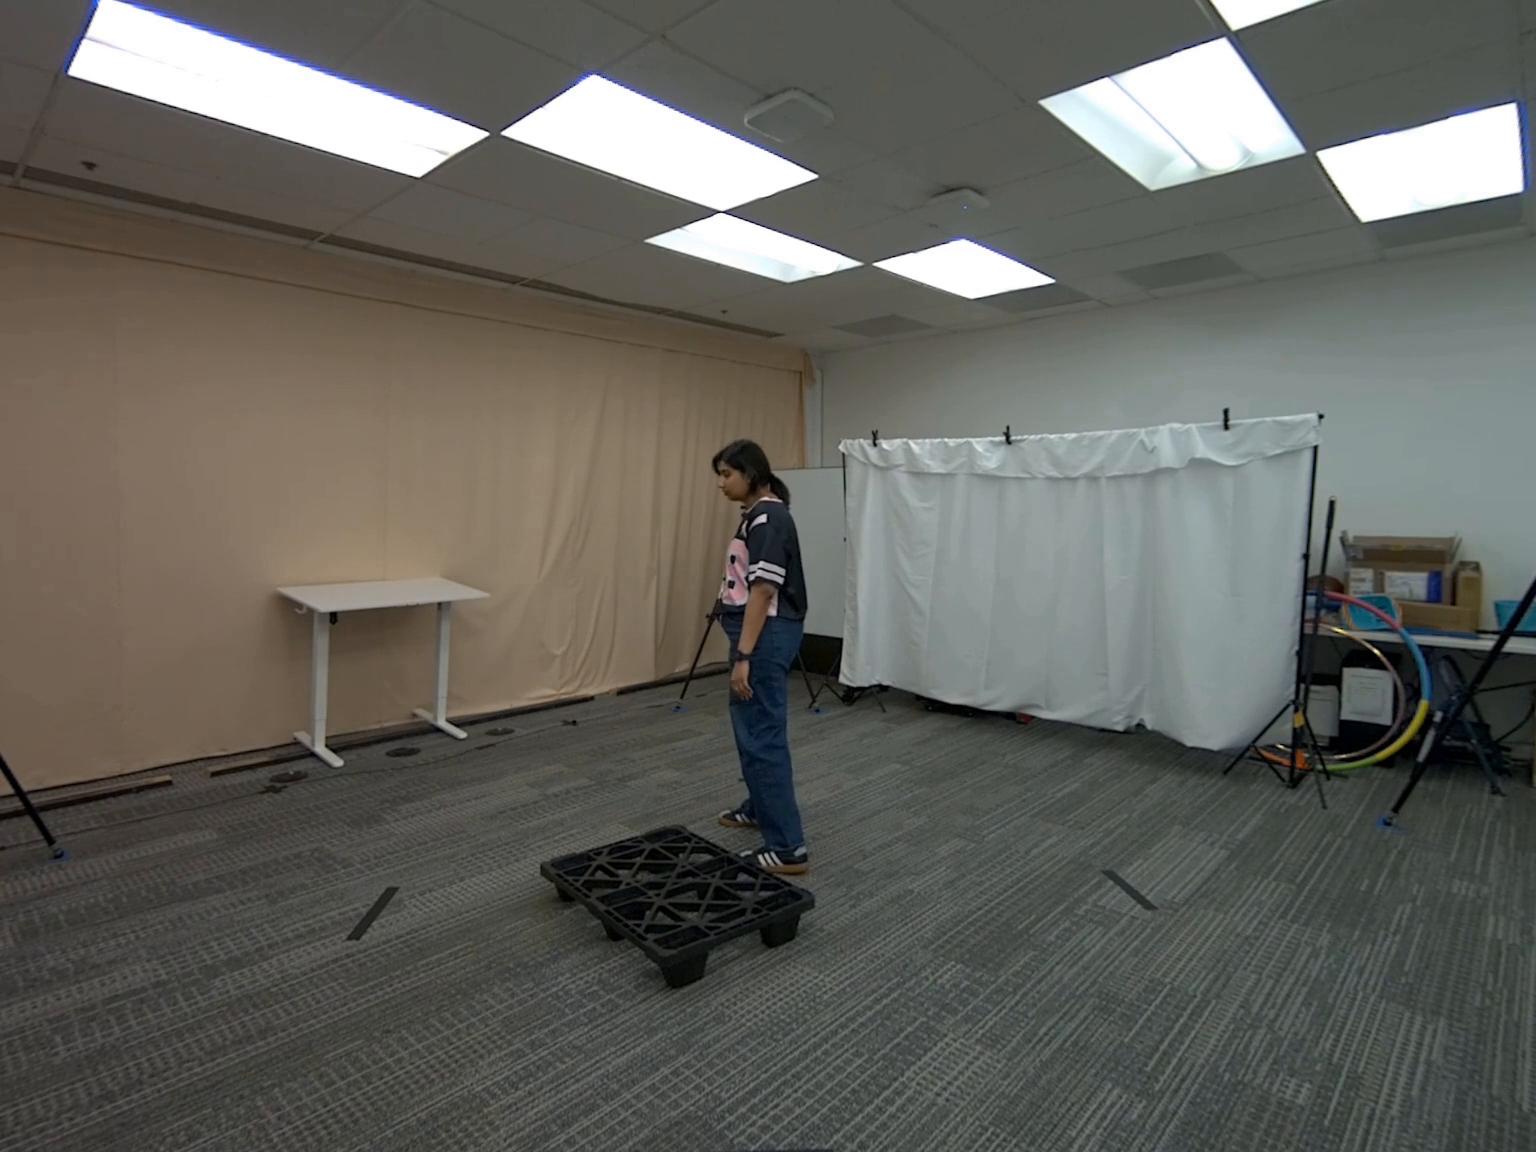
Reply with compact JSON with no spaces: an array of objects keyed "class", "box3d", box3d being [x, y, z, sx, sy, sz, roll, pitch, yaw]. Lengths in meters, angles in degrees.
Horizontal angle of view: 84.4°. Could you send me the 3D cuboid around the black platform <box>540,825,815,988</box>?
[{"class":"black platform","box3d":[-0.330,1.093,2.844,0.587,0.143,0.832,-5,6,-38]}]
